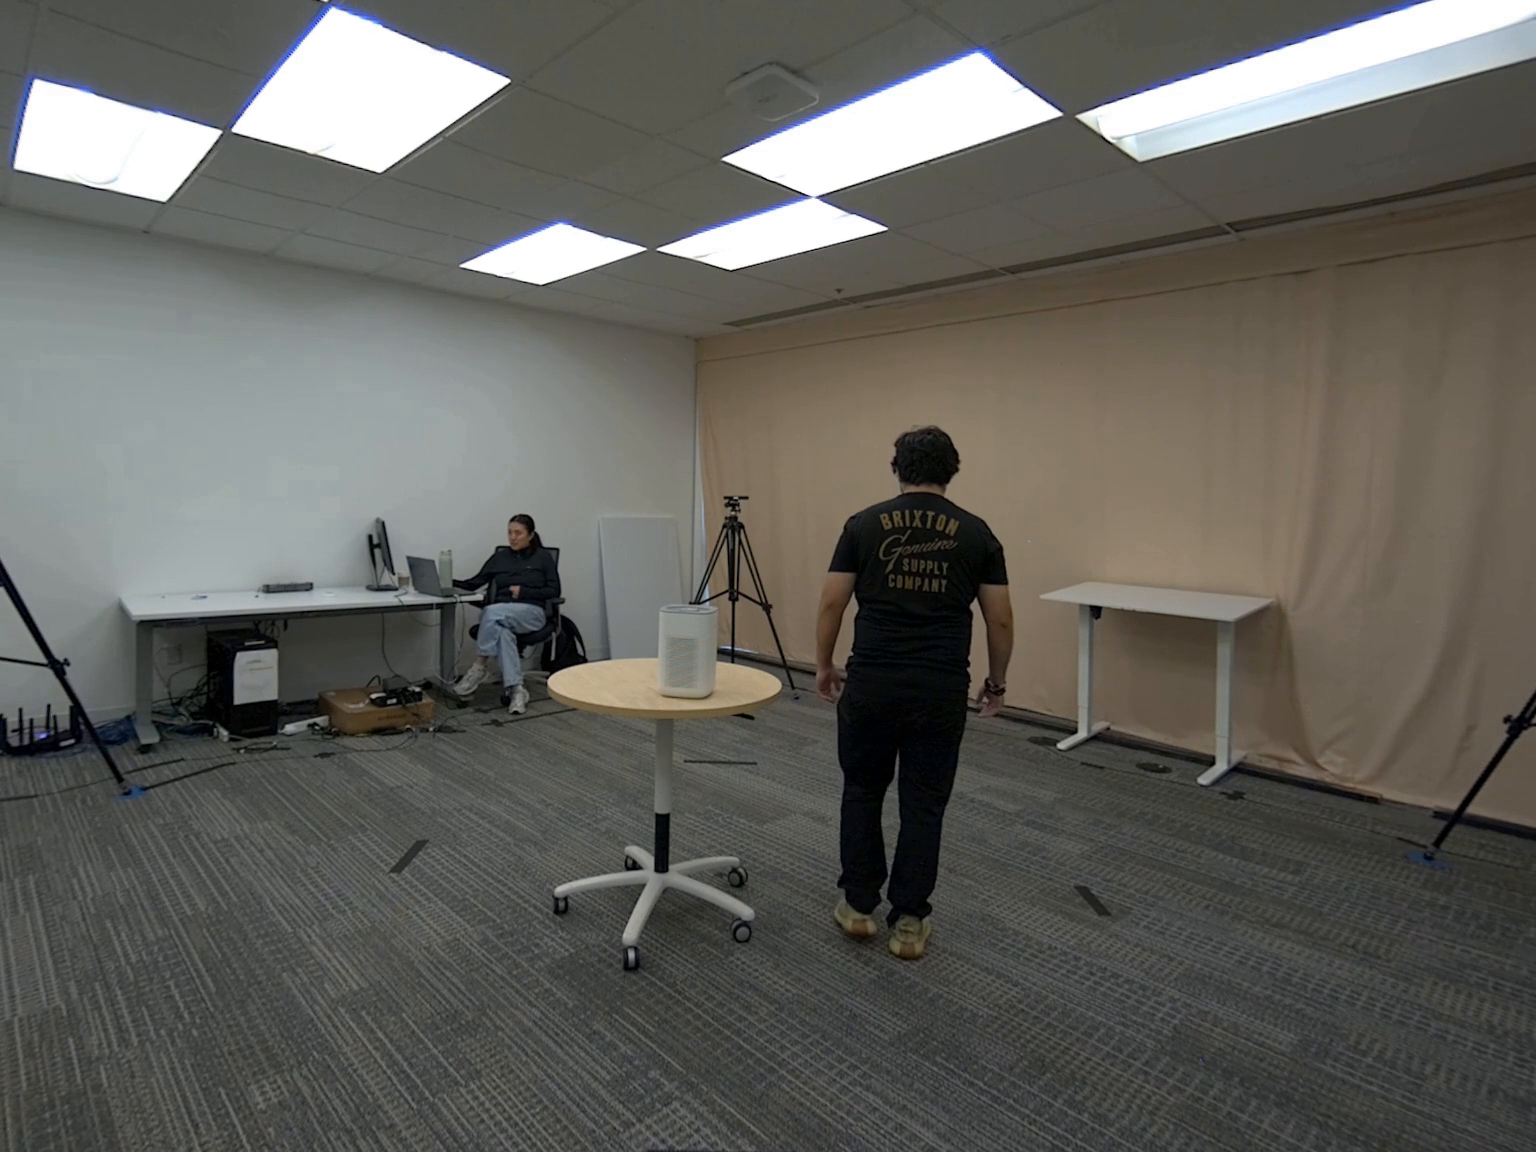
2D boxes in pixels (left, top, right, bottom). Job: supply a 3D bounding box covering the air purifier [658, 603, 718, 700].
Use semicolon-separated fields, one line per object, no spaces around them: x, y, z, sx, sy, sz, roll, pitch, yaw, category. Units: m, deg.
-0.247;0.229;2.604;0.173;0.264;0.170;1;4;9;air purifier
